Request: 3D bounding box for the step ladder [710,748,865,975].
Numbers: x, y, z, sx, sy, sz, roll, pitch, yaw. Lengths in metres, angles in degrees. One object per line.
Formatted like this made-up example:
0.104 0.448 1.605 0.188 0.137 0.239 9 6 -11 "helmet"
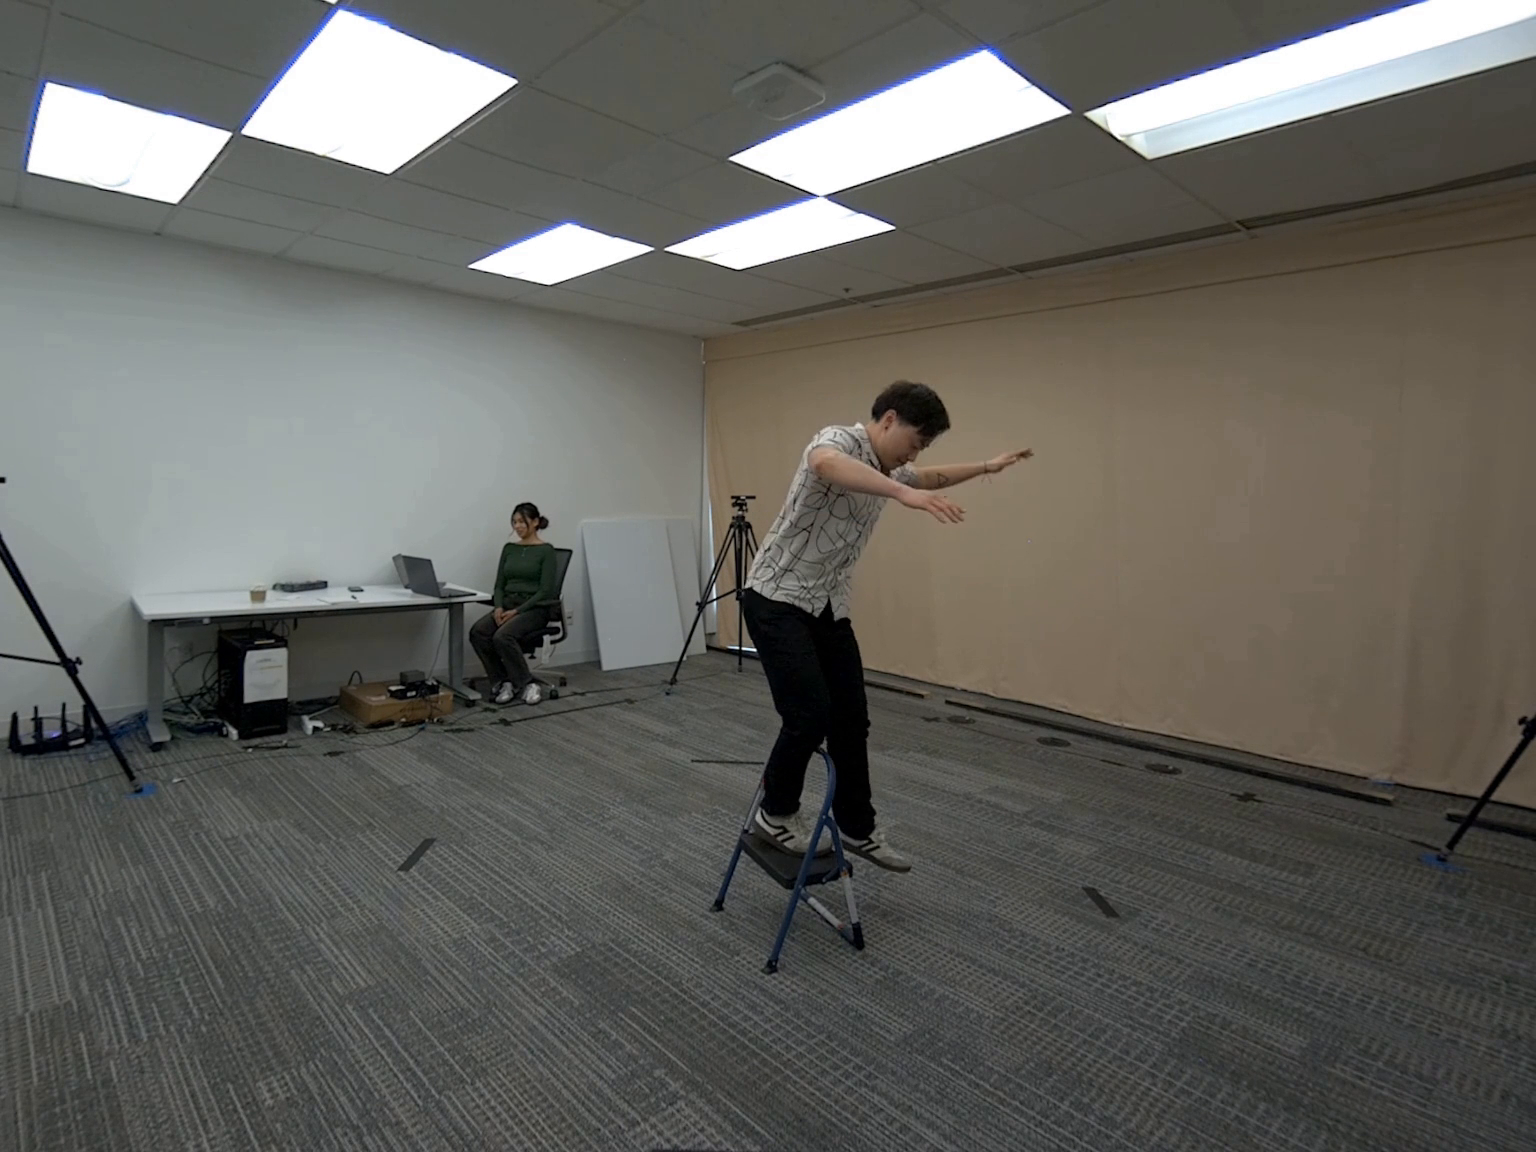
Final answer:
0.057 0.843 2.700 0.343 0.604 0.440 -1 5 -27 "step ladder"
